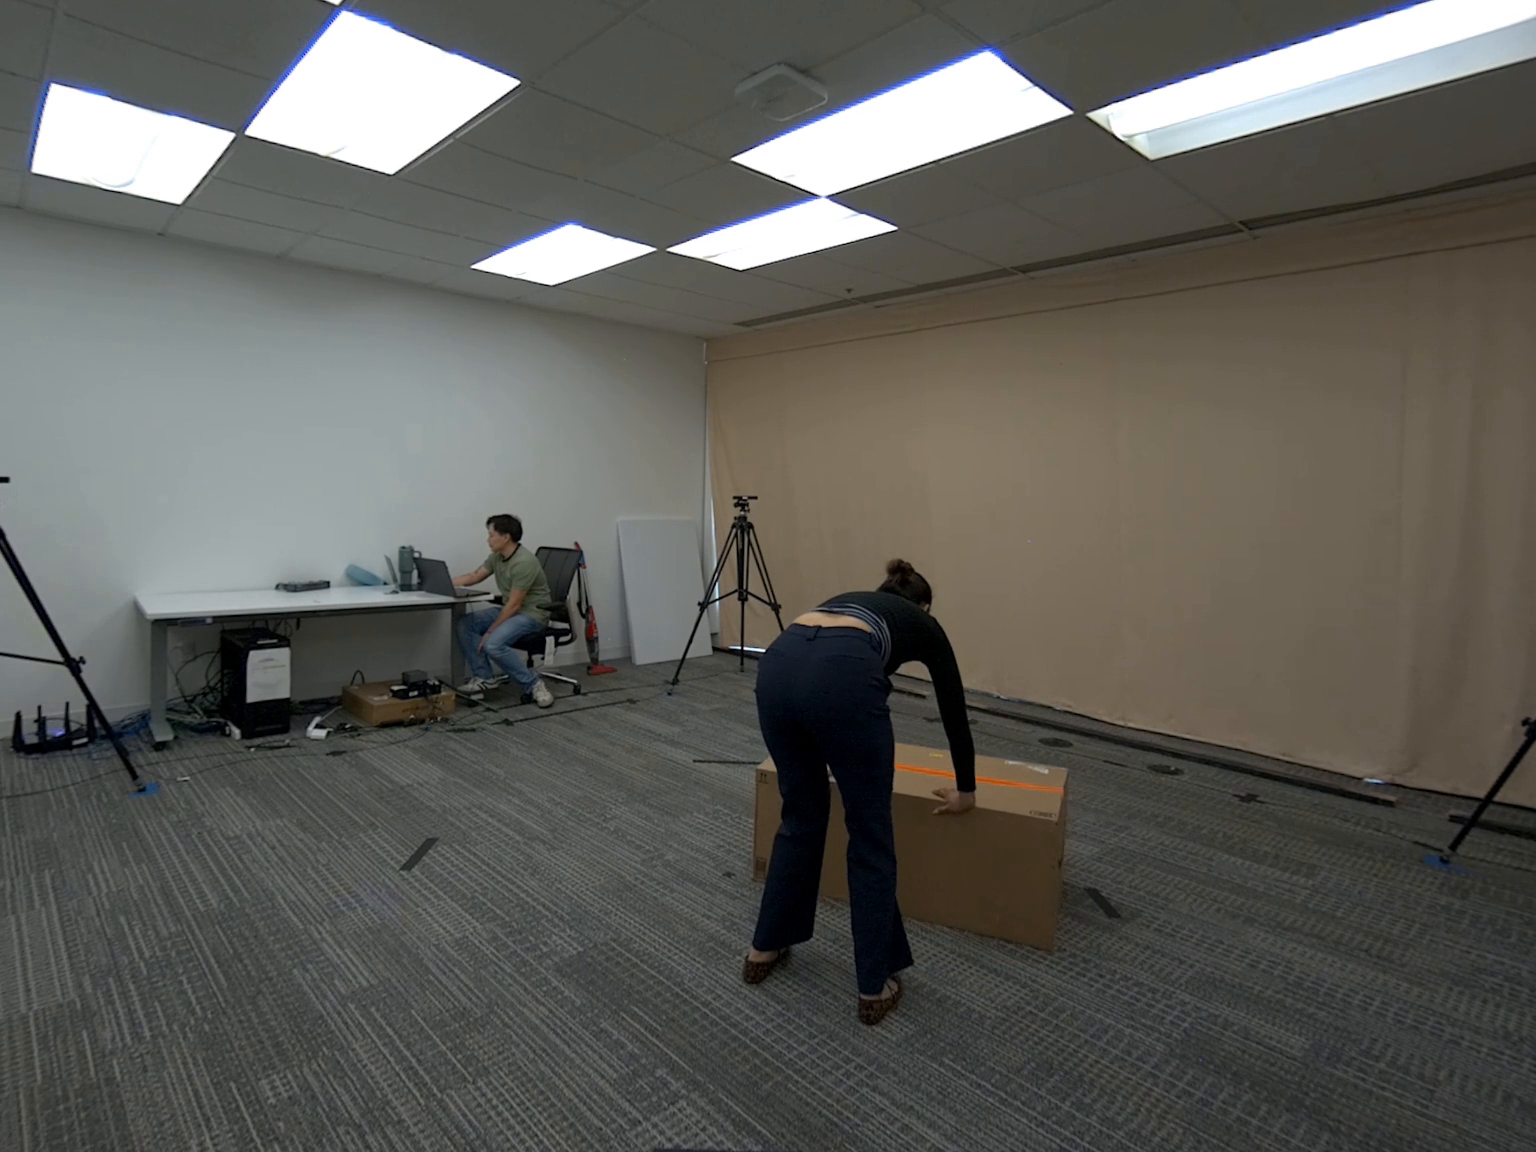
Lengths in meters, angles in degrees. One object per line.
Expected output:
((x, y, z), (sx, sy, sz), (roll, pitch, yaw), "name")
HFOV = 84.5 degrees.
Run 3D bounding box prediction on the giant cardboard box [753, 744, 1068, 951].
((0.519, 0.908, 3.088), (1.045, 0.425, 0.569), (4, 6, 24), "giant cardboard box")
